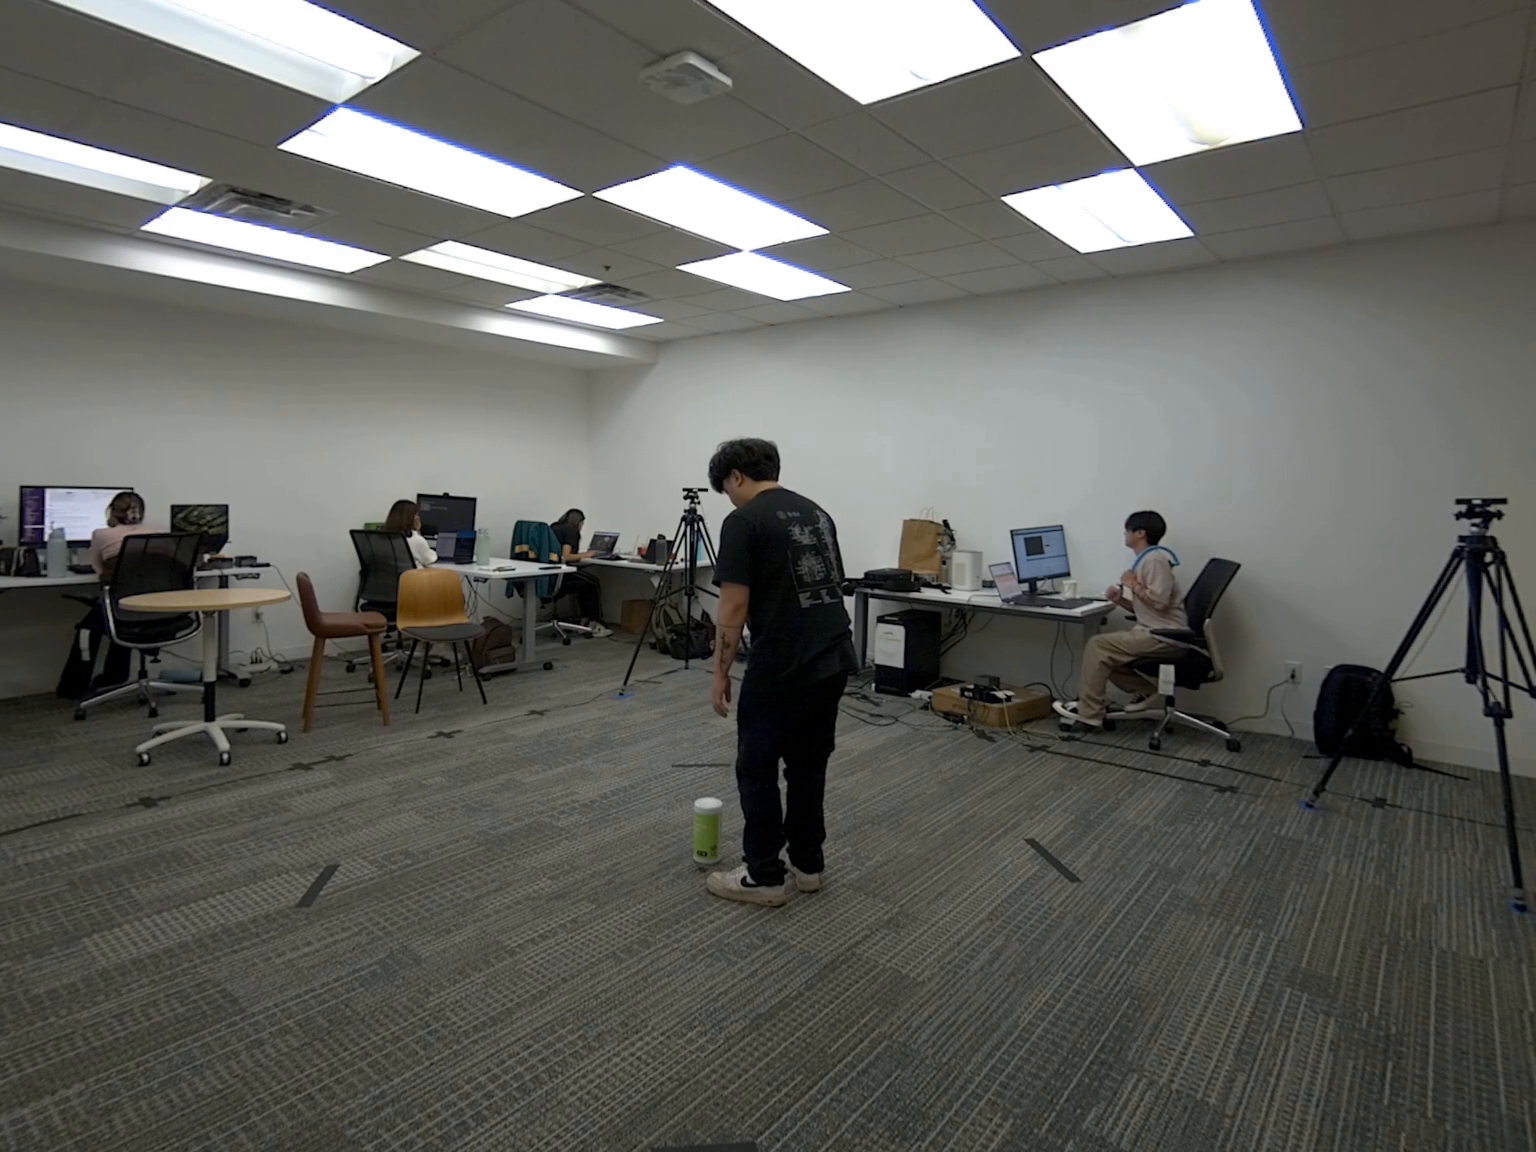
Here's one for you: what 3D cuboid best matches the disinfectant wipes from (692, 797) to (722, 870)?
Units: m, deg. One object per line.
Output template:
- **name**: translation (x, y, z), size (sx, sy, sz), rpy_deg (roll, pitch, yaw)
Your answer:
- **disinfectant wipes**: translation (-0.238, 0.955, 3.197), size (0.117, 0.217, 0.118), rpy_deg (1, 4, -2)
